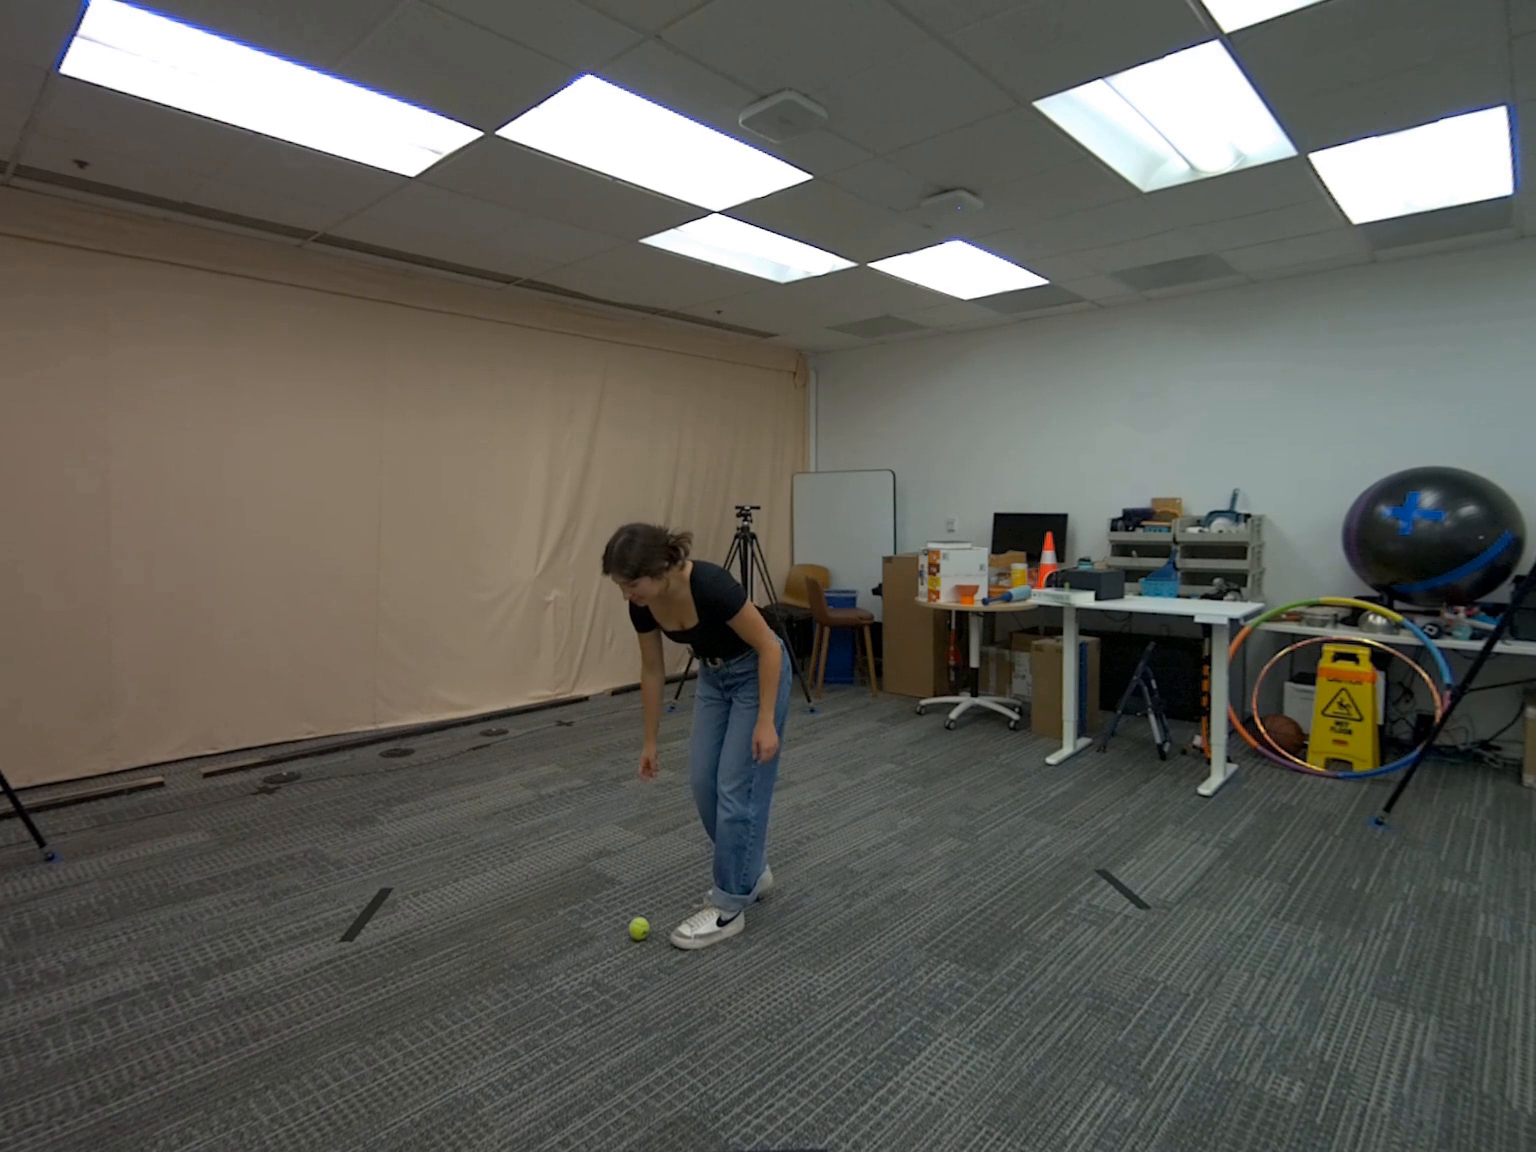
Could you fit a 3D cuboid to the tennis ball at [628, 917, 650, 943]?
[{"bbox_3d":[-0.416,1.127,2.704,0.066,0.066,0.067,0,4,-2],"label":"tennis ball"}]
